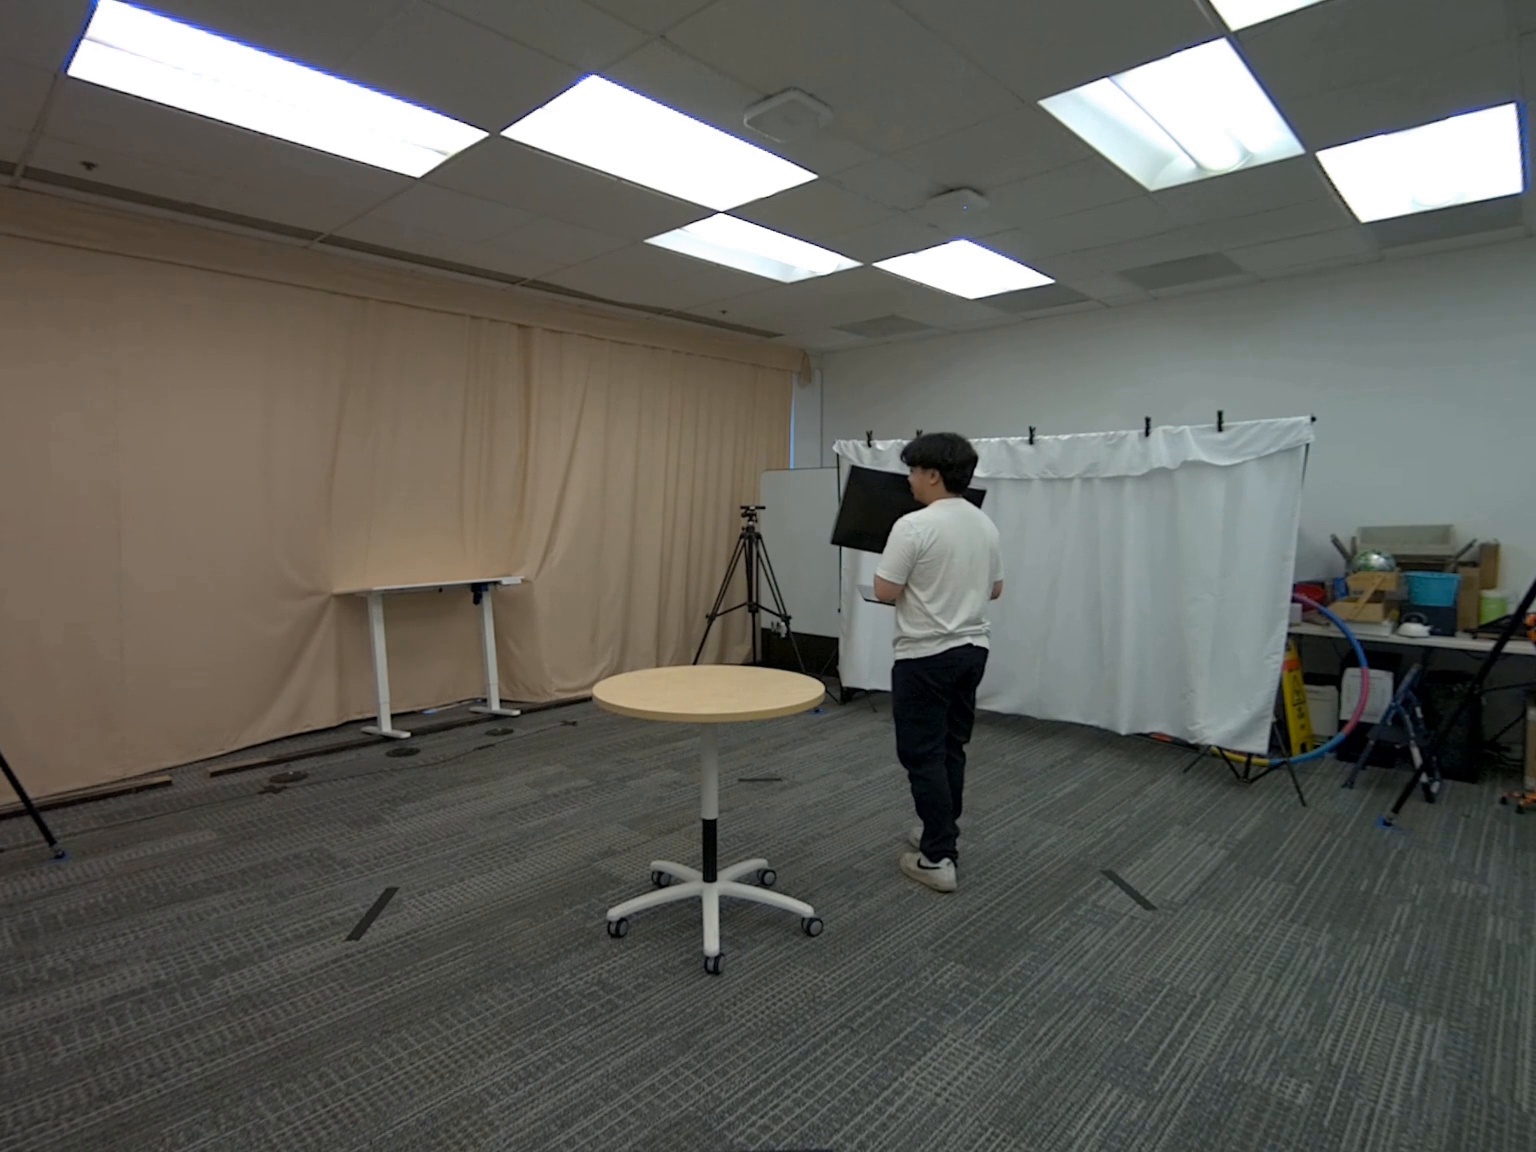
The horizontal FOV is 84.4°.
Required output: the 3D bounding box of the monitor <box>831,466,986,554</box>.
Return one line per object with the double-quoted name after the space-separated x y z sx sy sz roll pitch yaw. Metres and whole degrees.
0.553 -0.139 3.392 0.564 0.549 0.212 11 20 -2 "monitor"
